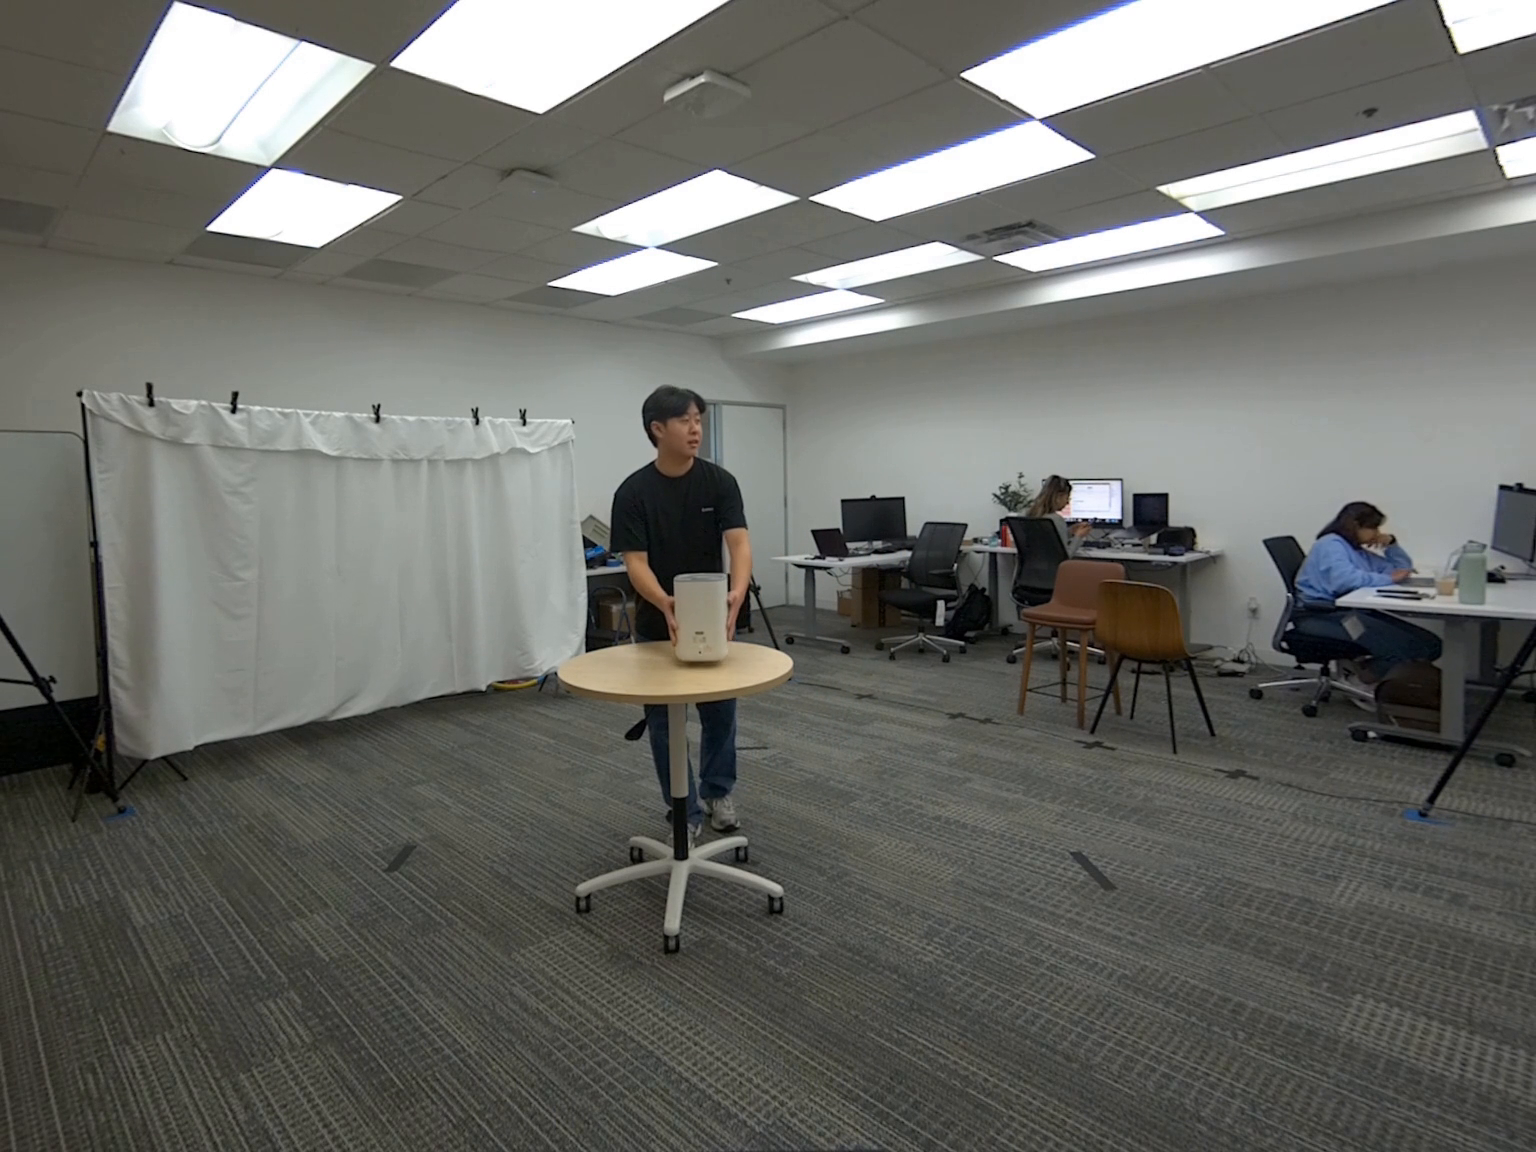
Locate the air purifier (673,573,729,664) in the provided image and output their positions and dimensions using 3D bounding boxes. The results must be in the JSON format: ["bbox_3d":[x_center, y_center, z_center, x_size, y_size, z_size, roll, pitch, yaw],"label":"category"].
[{"bbox_3d":[-0.213,0.135,2.783,0.171,0.264,0.172,0,5,-2],"label":"air purifier"}]
